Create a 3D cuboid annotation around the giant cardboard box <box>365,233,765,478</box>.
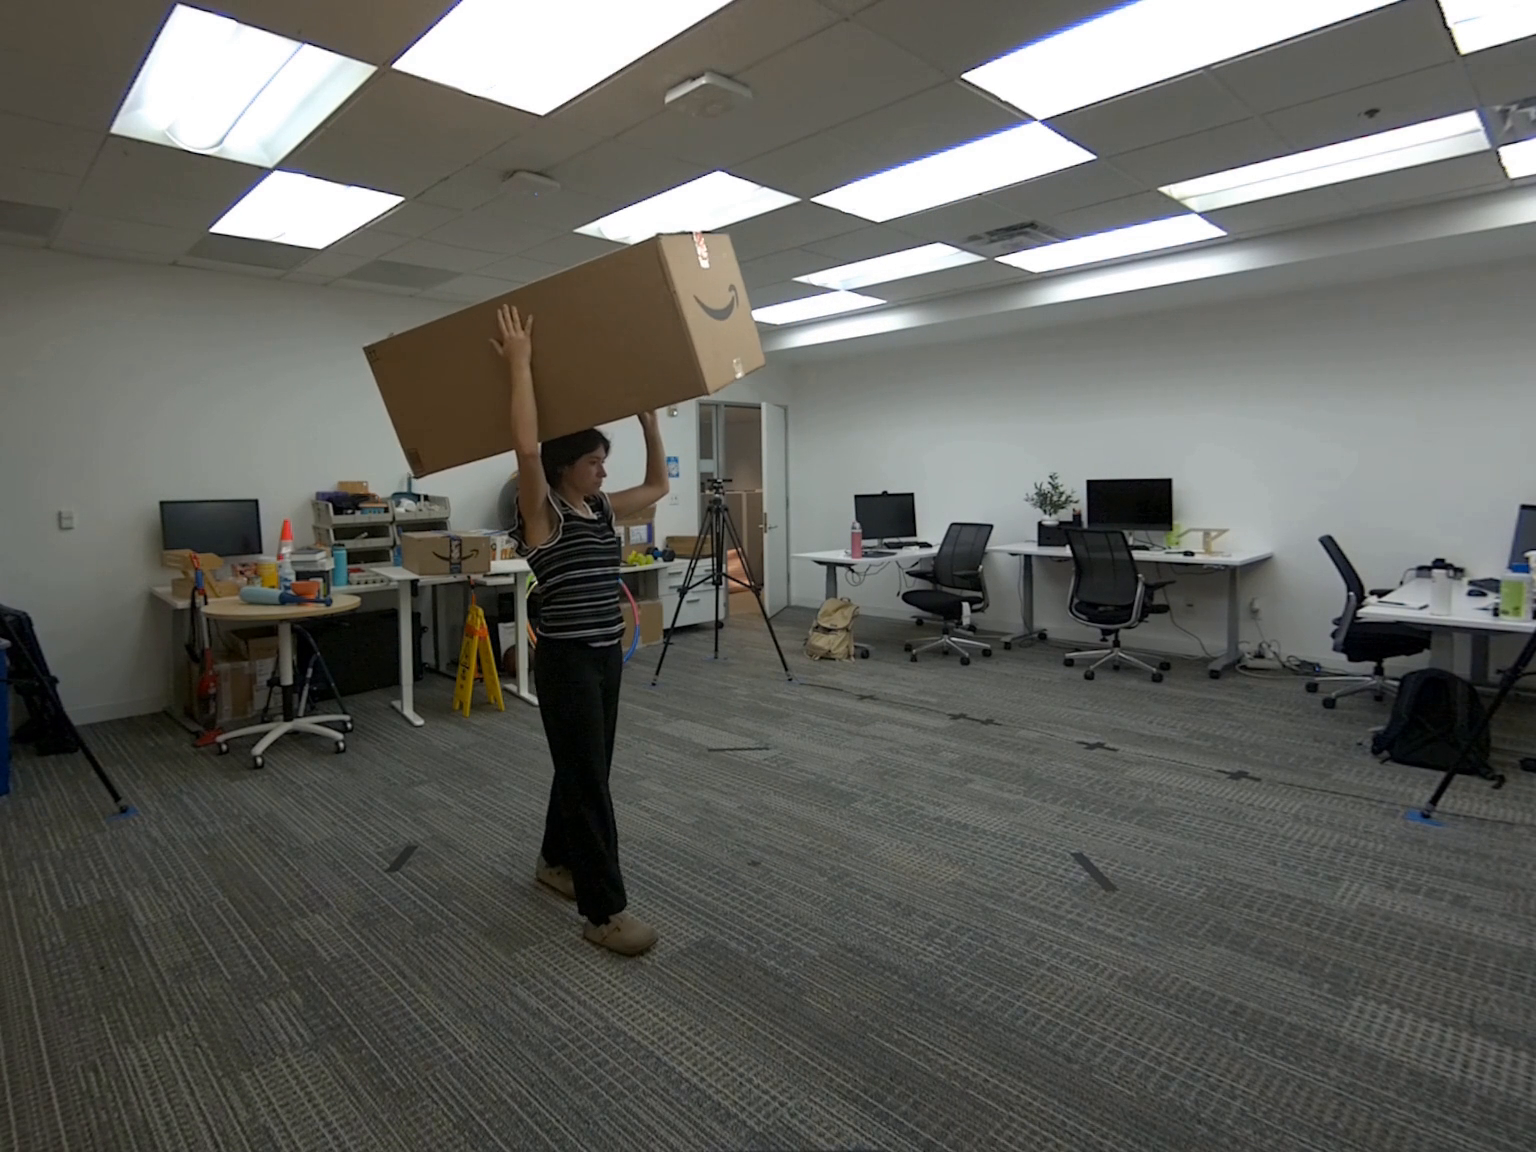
[{"bbox_3d":[-0.604,-0.684,2.639,1.042,0.420,0.577,-11,16,22],"label":"giant cardboard box"}]
